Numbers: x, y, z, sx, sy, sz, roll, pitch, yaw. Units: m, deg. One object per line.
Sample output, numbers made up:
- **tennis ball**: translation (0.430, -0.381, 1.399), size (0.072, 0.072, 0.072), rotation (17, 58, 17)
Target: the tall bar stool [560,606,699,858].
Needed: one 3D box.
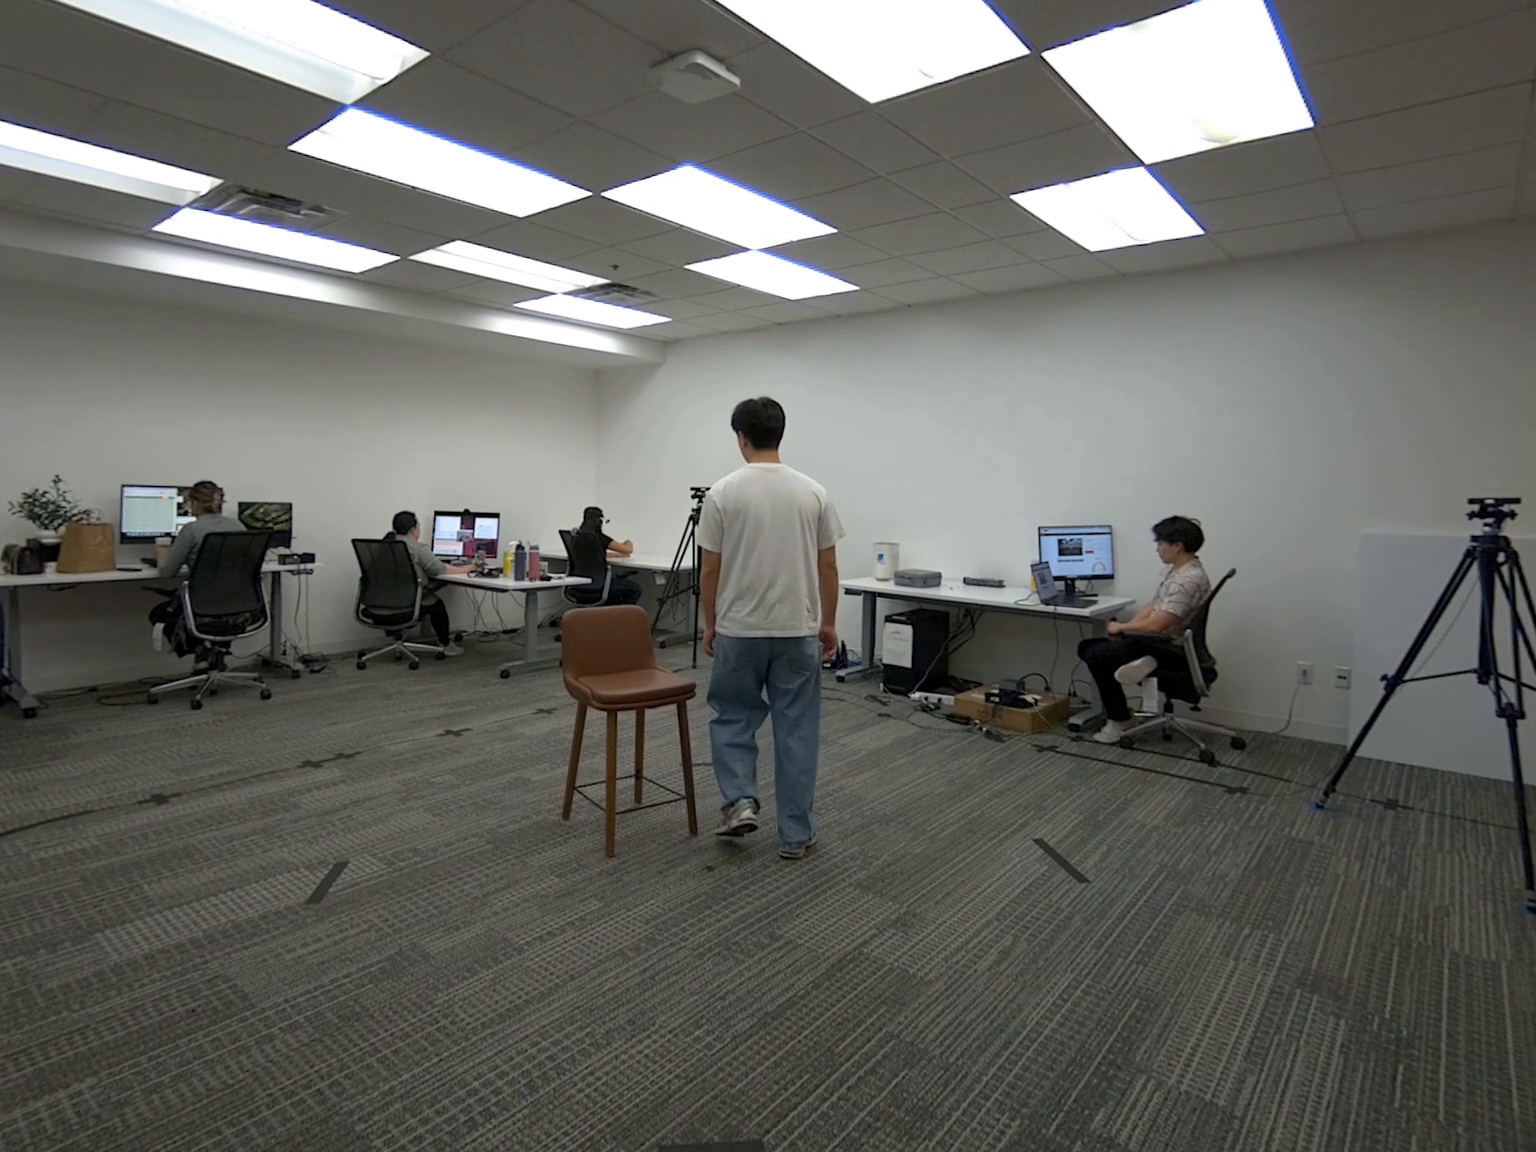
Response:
- **tall bar stool**: translation (-0.586, 0.586, 3.466), size (0.443, 0.888, 0.482), rotation (-1, 2, -38)
